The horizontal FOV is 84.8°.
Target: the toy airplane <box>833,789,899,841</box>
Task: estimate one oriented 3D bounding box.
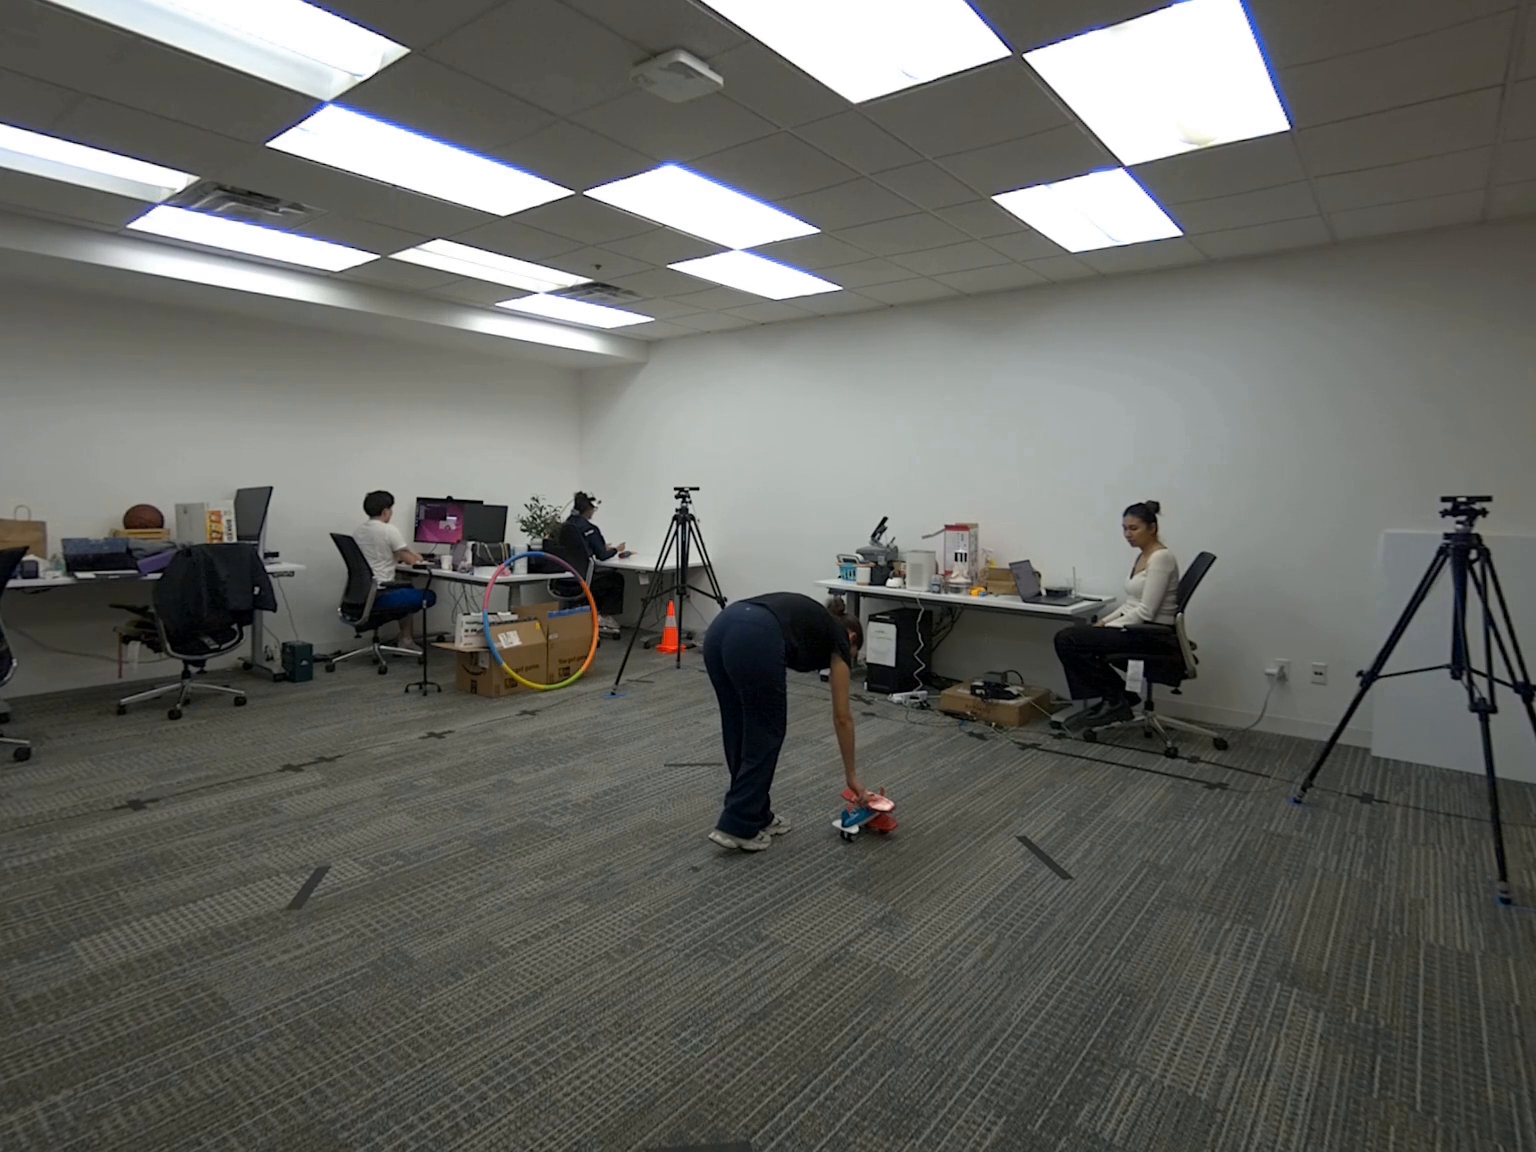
[{"bbox_3d":[0.413,0.974,3.443,0.257,0.156,0.254,2,3,21],"label":"toy airplane"}]
